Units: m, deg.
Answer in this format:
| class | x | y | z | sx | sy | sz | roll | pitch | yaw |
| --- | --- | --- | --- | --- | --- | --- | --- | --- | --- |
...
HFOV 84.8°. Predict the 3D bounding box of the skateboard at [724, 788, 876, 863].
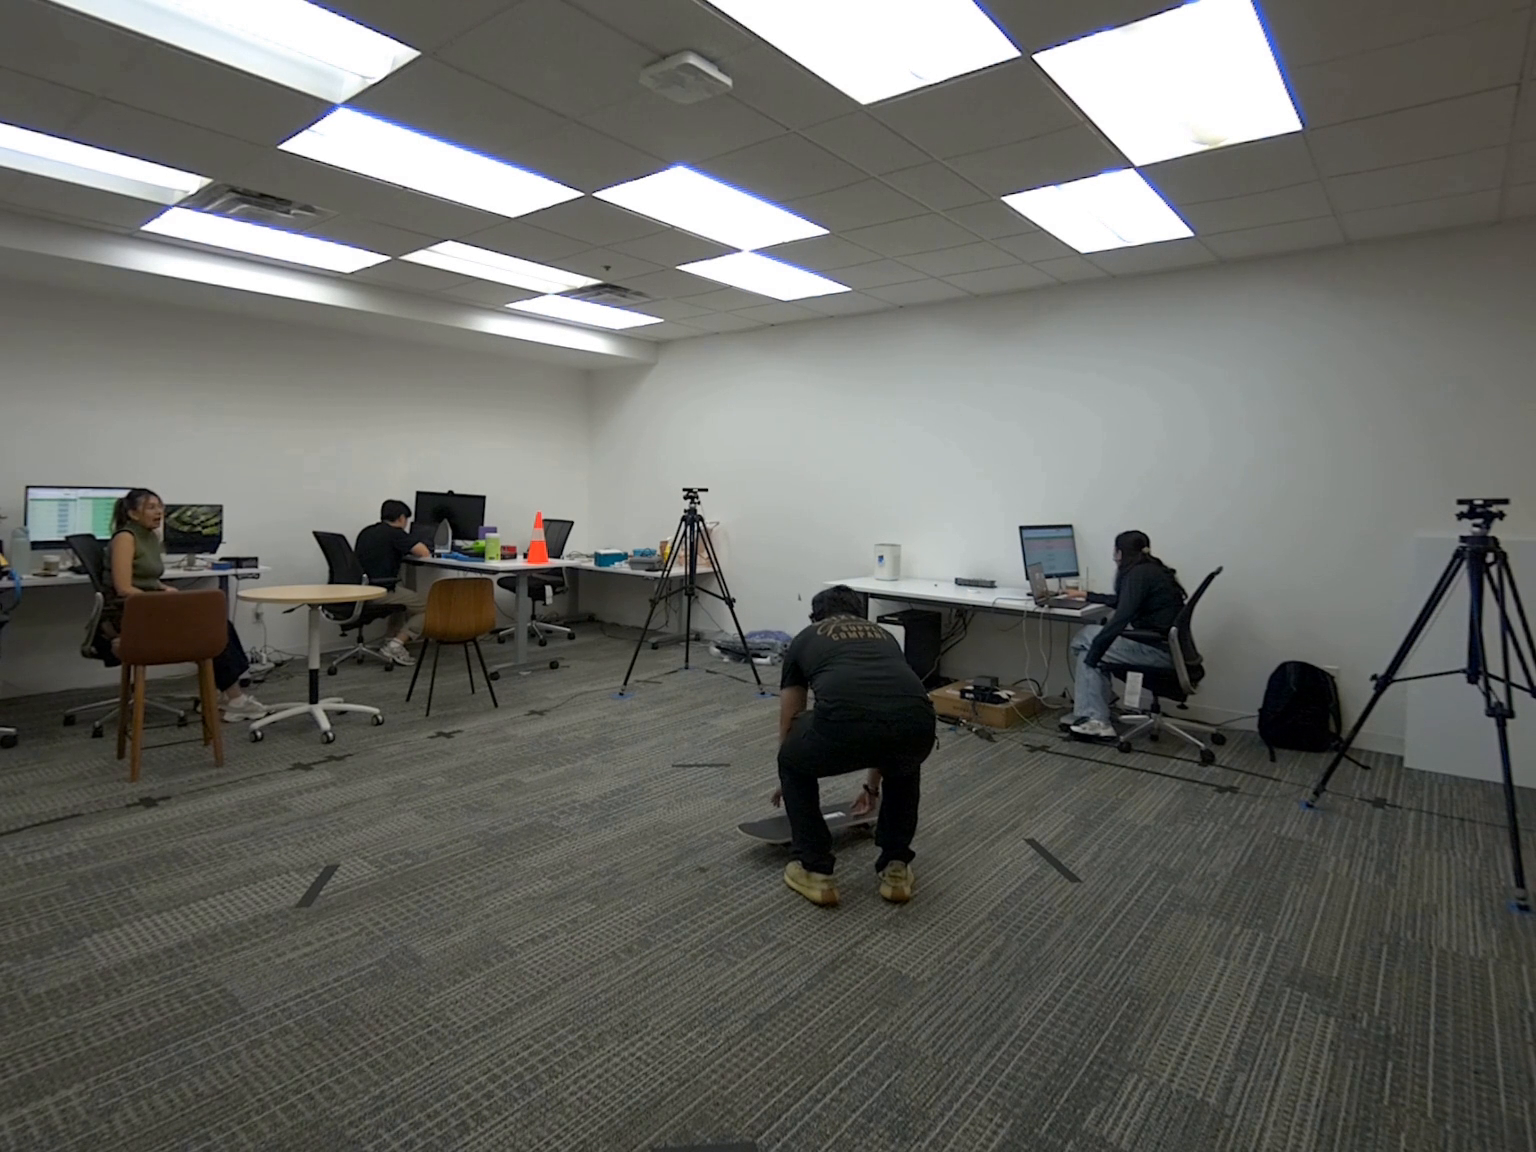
| class | x | y | z | sx | sy | sz | roll | pitch | yaw |
| --- | --- | --- | --- | --- | --- | --- | --- | --- | --- |
| skateboard | 0.212 | 0.986 | 3.394 | 0.764 | 0.110 | 0.199 | -2 | 5 | -31 |
